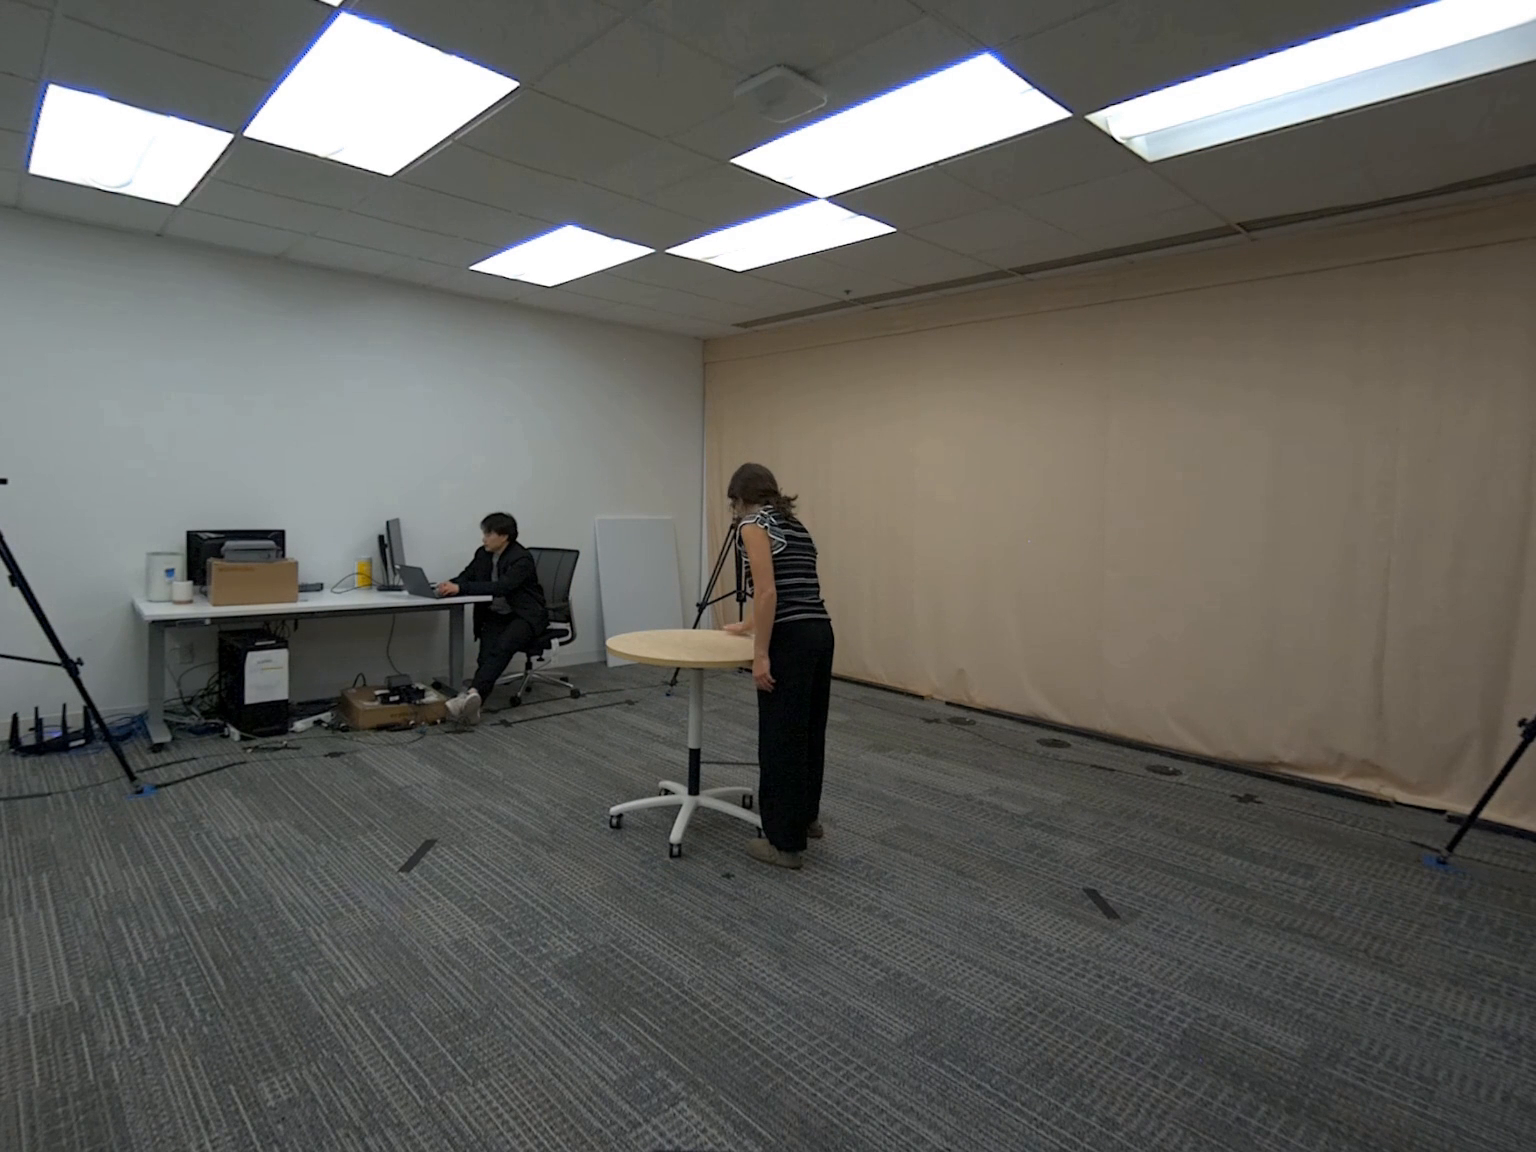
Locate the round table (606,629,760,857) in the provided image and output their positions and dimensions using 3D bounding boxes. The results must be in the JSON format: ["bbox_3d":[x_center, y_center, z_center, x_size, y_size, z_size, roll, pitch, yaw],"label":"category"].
[{"bbox_3d":[-0.322,0.675,3.555,0.763,0.792,0.766,2,4,-1],"label":"round table"}]
